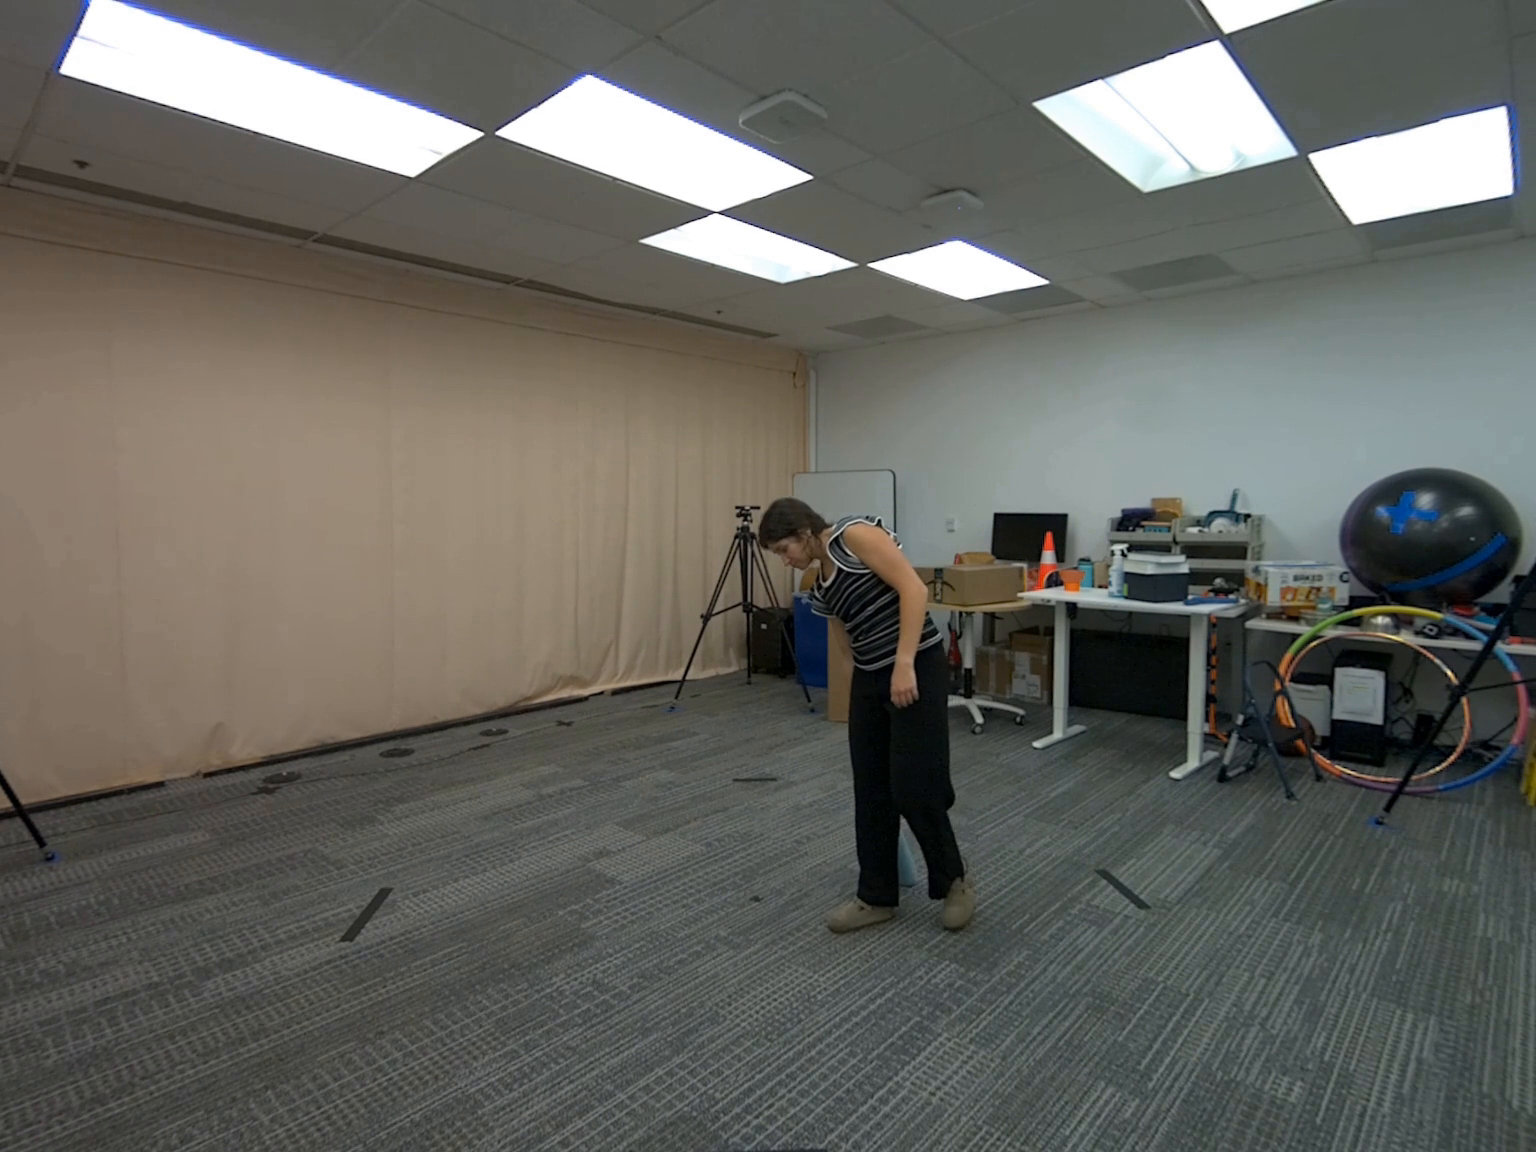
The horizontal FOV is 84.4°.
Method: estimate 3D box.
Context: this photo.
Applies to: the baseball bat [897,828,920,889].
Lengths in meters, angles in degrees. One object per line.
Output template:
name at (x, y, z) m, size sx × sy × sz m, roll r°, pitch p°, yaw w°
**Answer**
baseball bat at (0.440, 0.886, 3.032) m, size 0.089 × 0.535 × 0.090 m, roll -18°, pitch 17°, yaw 4°
